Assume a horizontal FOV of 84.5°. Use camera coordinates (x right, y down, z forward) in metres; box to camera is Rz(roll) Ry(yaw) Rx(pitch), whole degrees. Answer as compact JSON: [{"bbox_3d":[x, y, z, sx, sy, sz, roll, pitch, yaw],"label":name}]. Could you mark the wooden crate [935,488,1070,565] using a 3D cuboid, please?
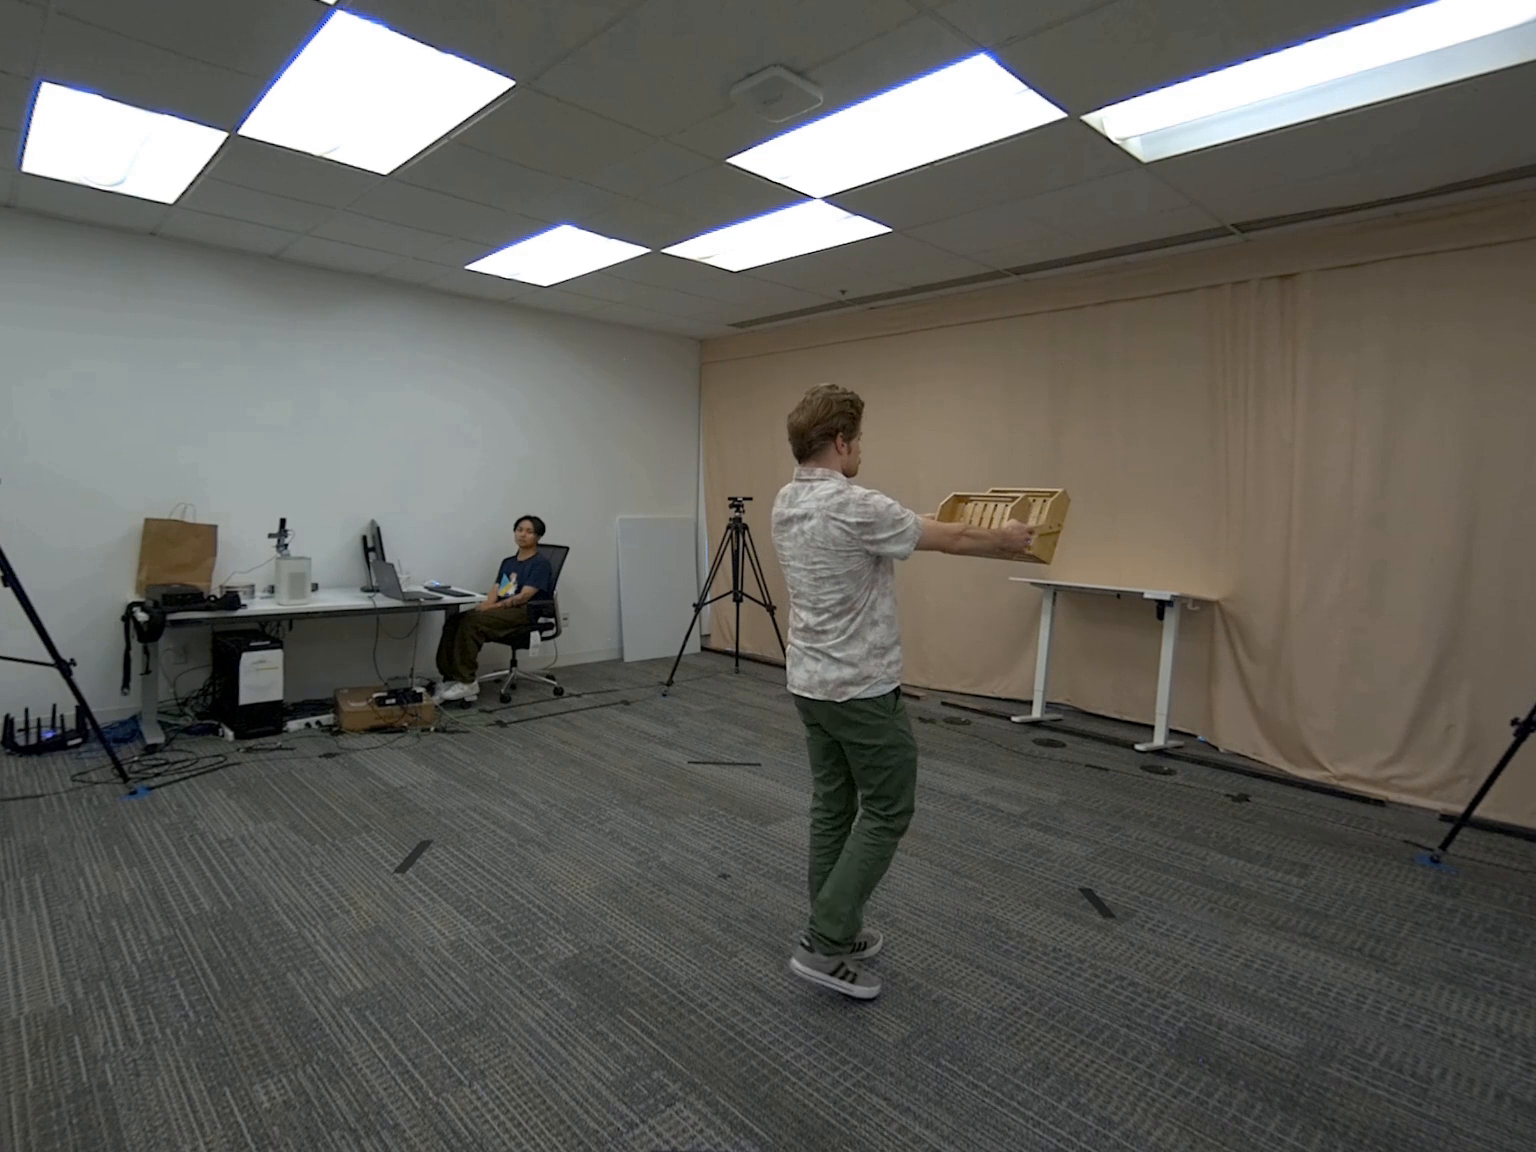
[{"bbox_3d":[0.759,-0.189,2.816,0.266,0.303,0.332,24,-8,-31],"label":"wooden crate"}]
